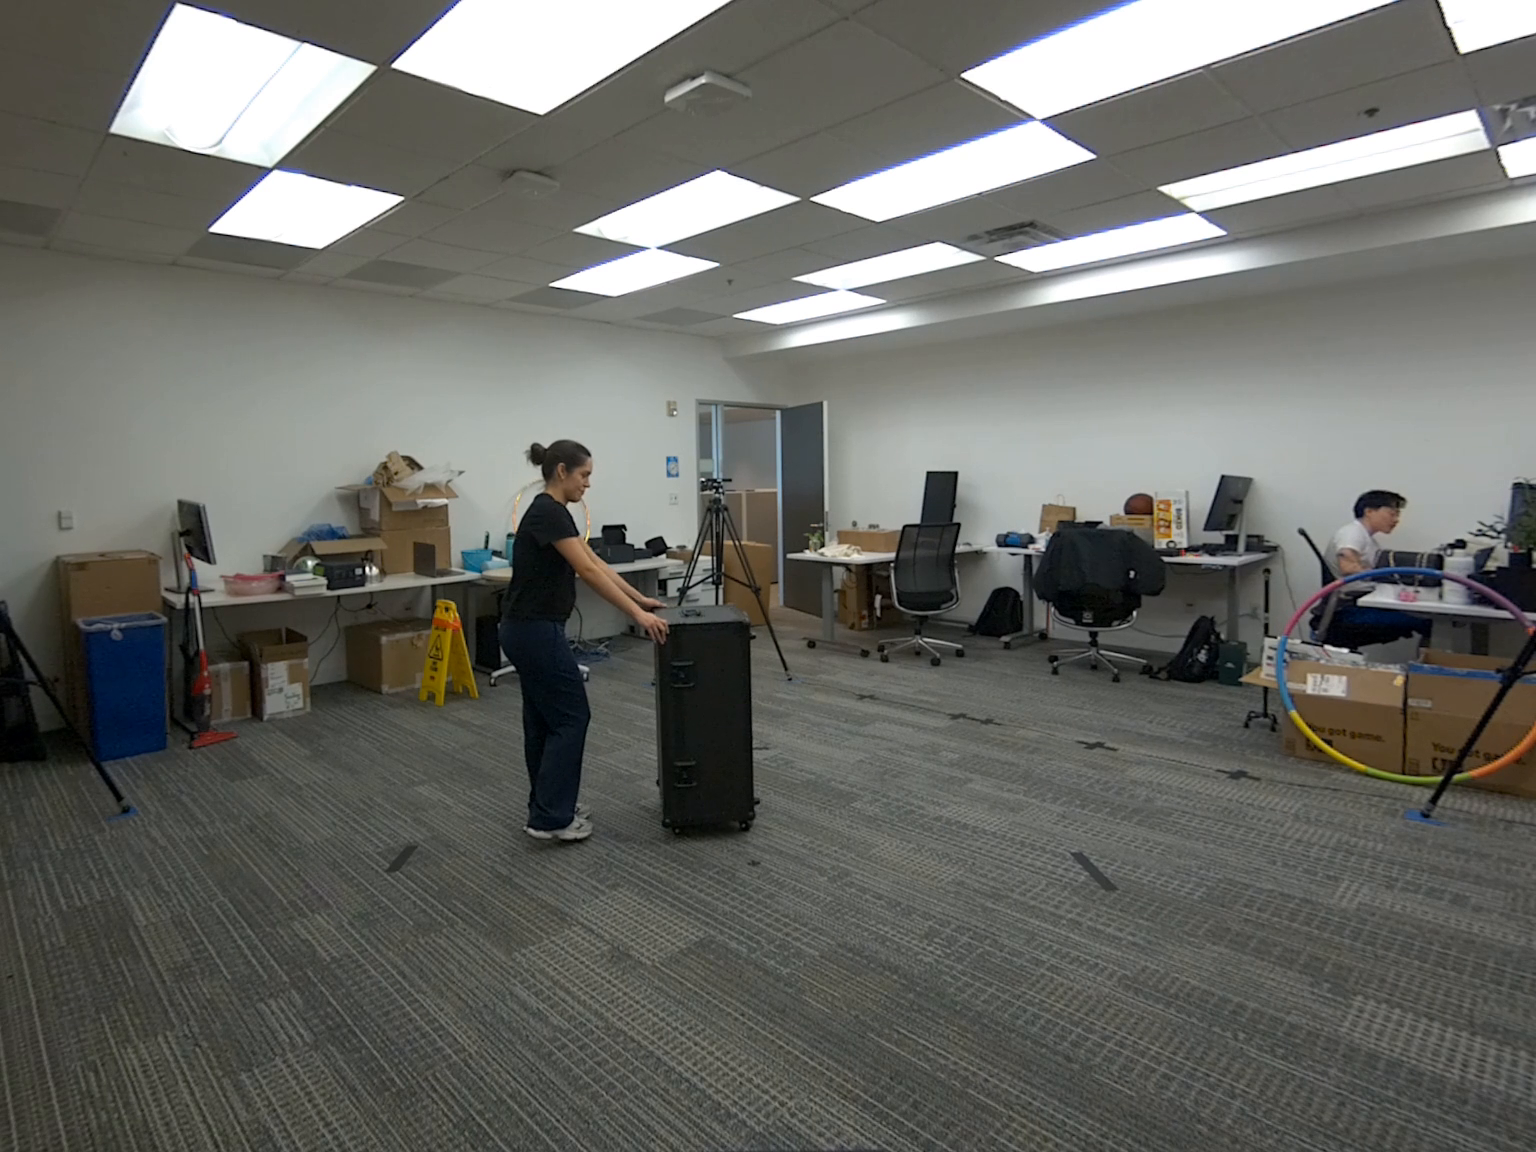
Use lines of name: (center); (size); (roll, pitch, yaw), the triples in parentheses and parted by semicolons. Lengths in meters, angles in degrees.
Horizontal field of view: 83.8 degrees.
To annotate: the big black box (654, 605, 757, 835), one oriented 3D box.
big black box: (-0.271, 0.577, 3.515); (0.394, 0.859, 0.526); (-1, 3, -8)
